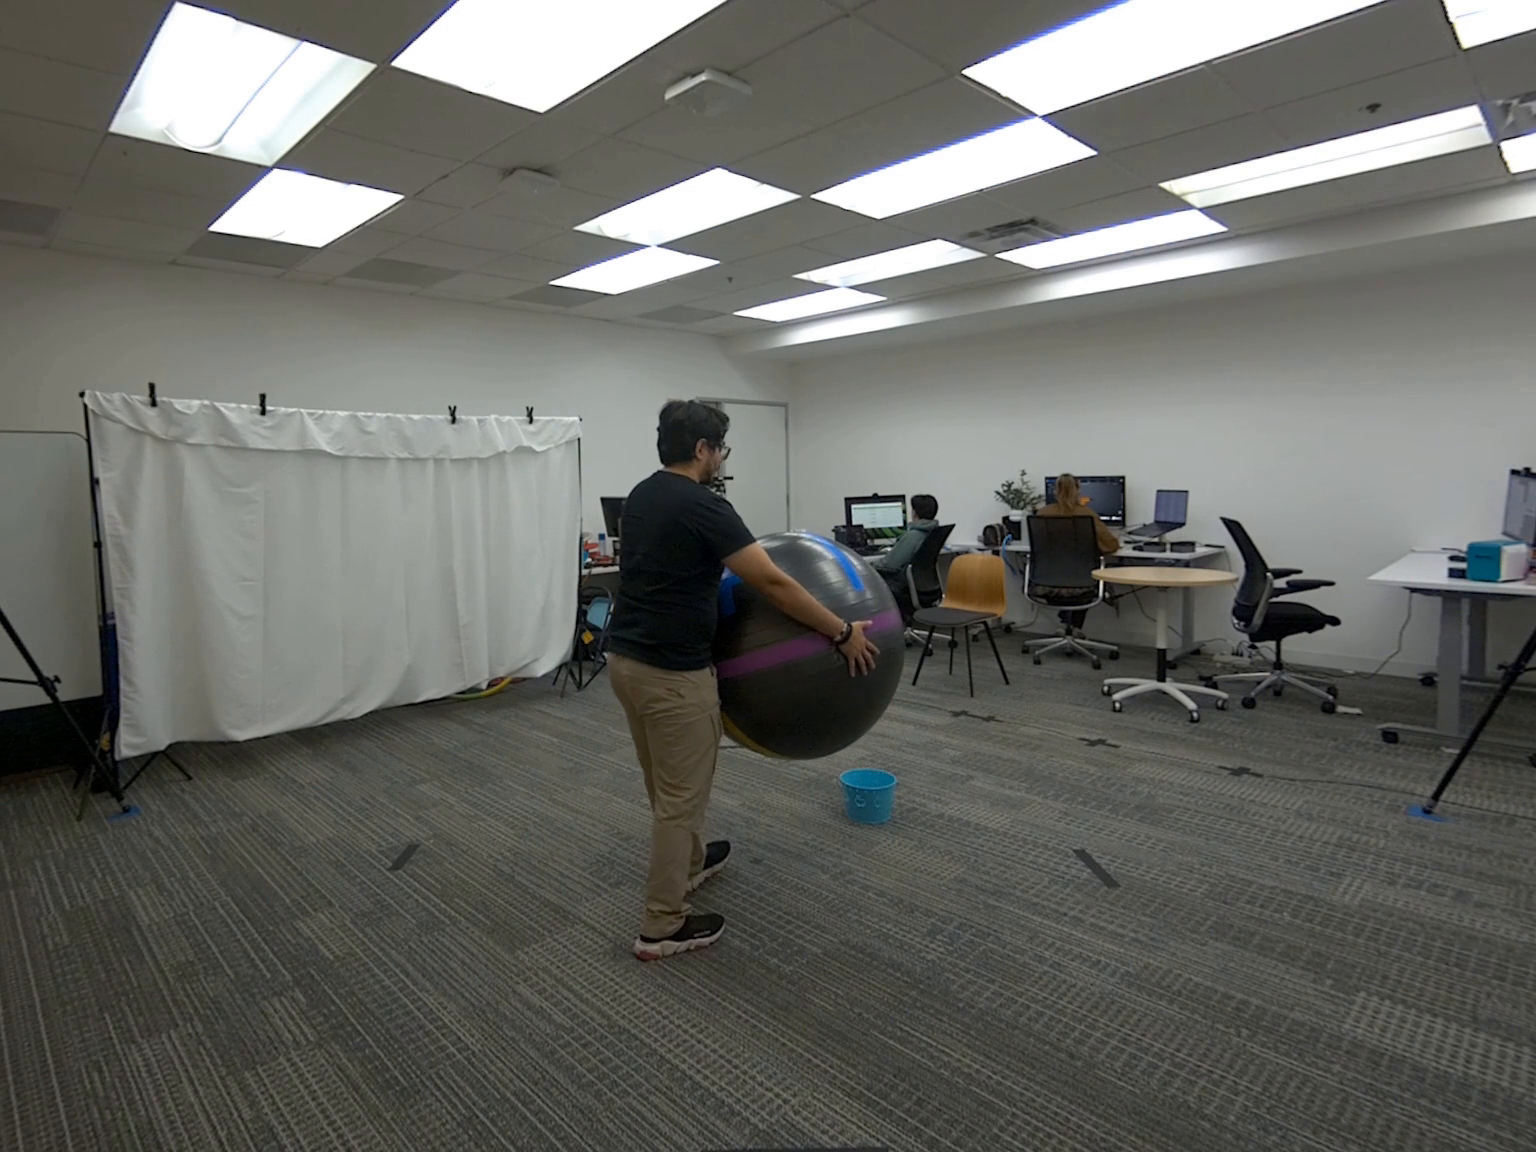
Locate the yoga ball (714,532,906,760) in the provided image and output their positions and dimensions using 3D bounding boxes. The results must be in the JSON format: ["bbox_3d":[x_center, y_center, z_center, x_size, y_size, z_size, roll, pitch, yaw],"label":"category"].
[{"bbox_3d":[0.083,0.231,2.913,0.757,0.755,0.762,-1,5,-2],"label":"yoga ball"}]
